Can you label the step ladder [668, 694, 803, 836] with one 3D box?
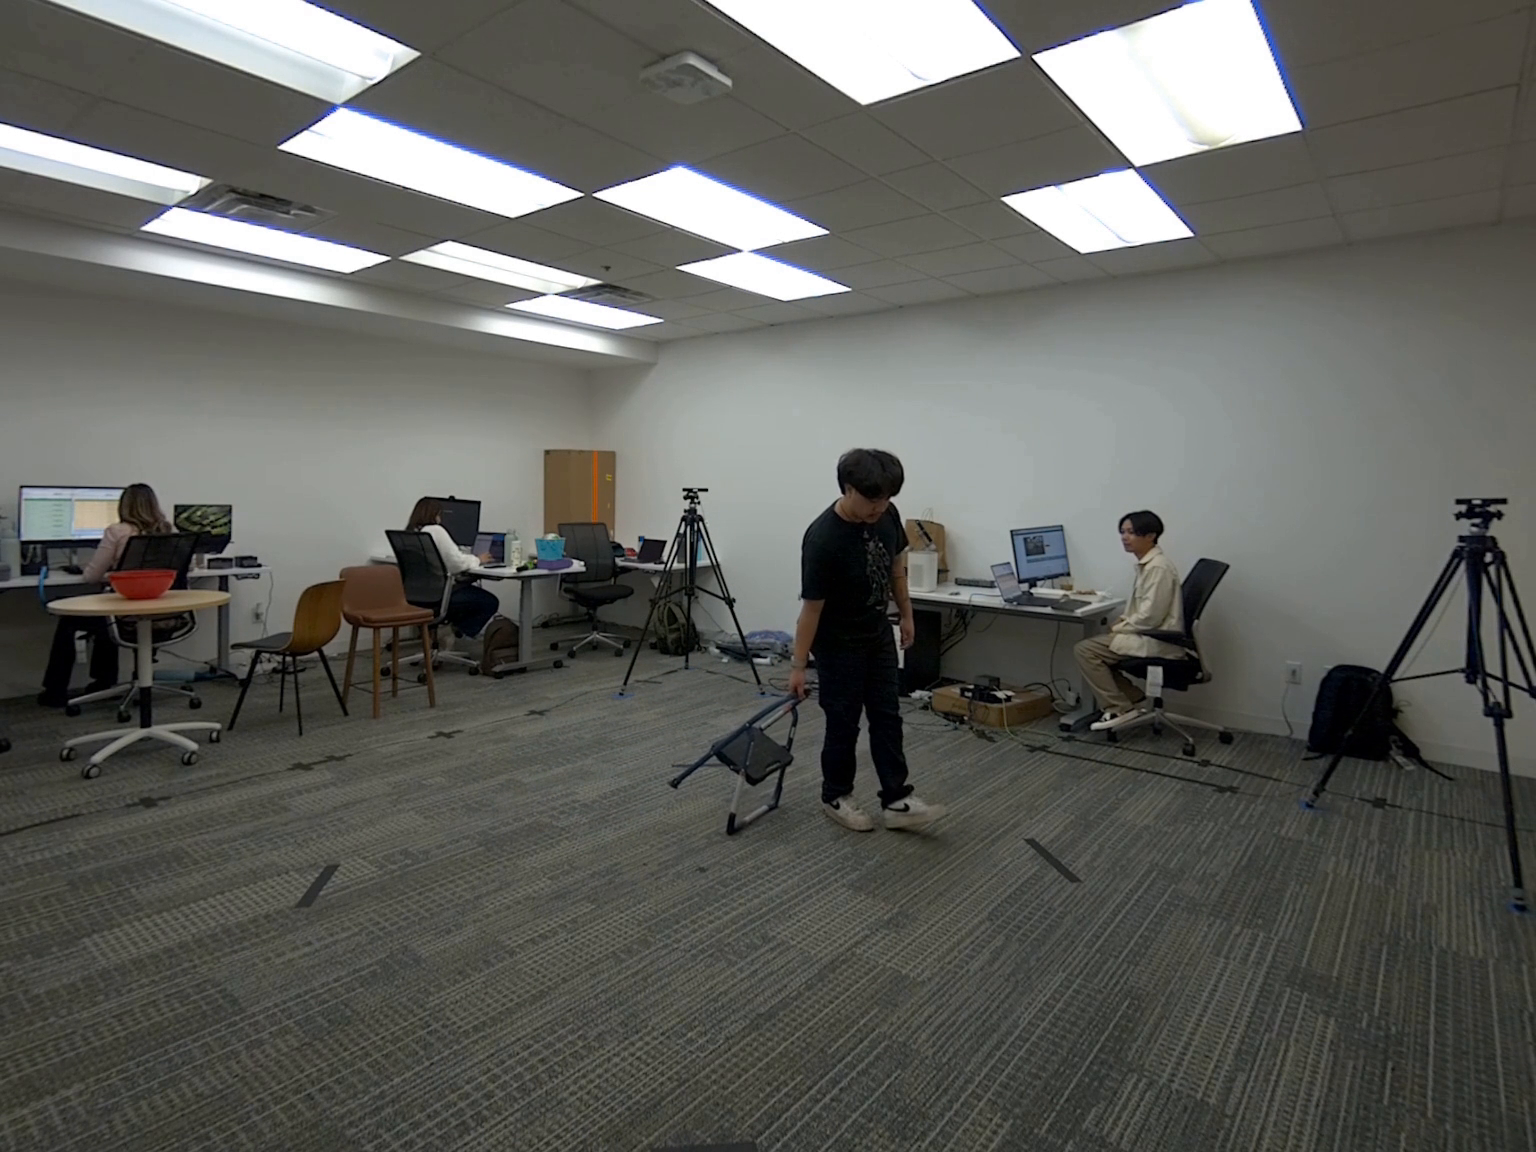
[{"bbox_3d":[-0.071,0.687,3.579,0.361,0.602,0.420,34,19,24],"label":"step ladder"}]
